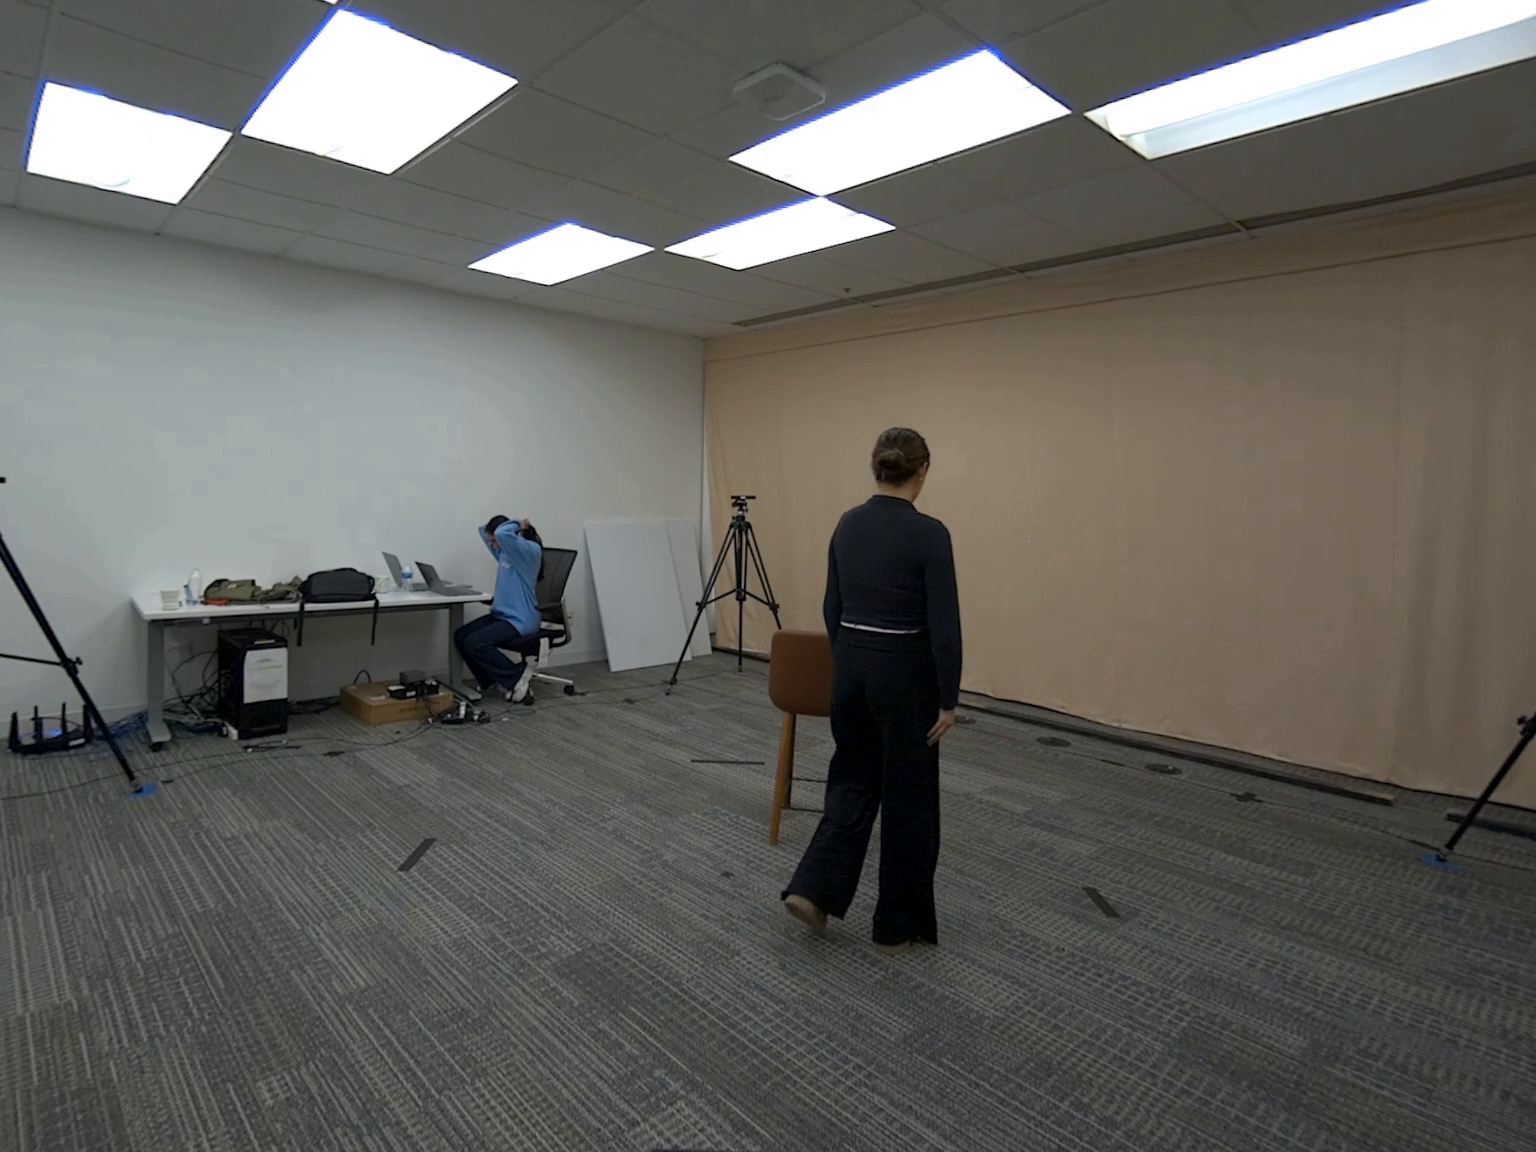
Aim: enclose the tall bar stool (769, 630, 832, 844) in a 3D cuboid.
[{"bbox_3d":[0.236,0.640,3.536,0.462,0.887,0.464,2,5,13],"label":"tall bar stool"}]
